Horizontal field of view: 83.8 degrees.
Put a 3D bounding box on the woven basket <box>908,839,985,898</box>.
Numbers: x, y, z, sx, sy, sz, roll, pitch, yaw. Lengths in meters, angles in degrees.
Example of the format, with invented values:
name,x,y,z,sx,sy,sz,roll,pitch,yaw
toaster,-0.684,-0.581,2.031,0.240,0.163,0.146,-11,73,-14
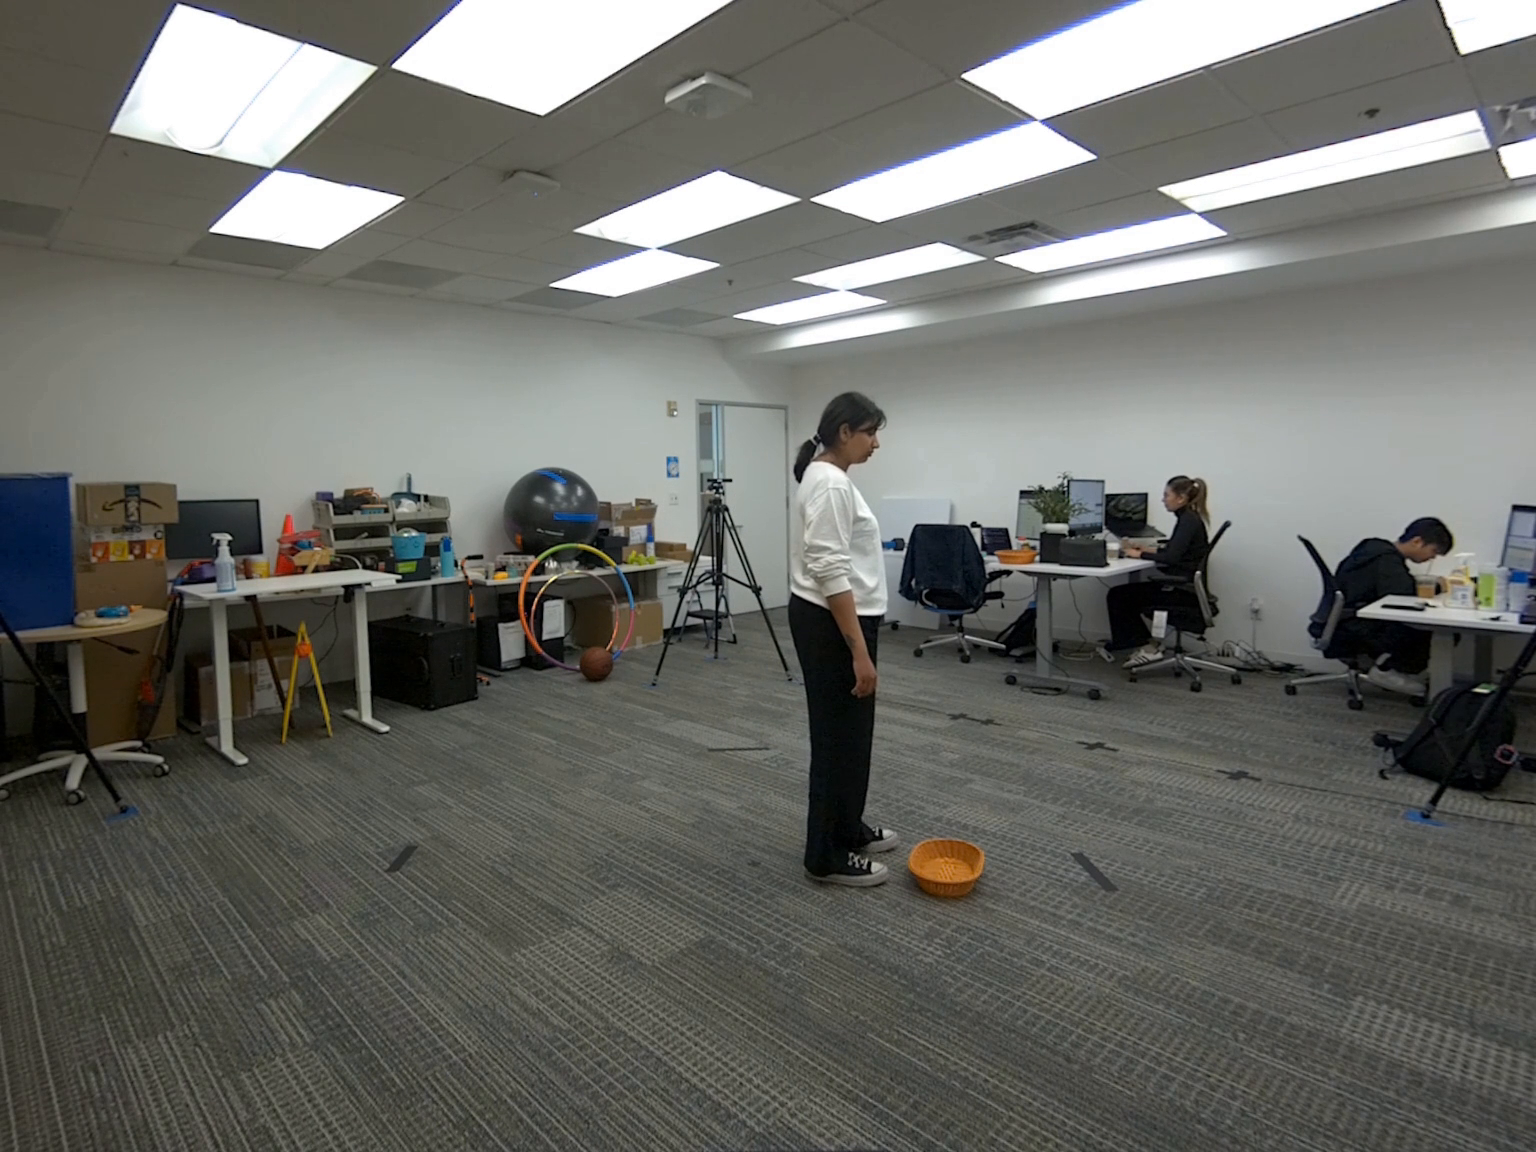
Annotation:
name,x,y,z,sx,sy,sz,roll,pitch,yaw
woven basket,0.616,1.009,2.963,0.258,0.073,0.344,1,7,24
